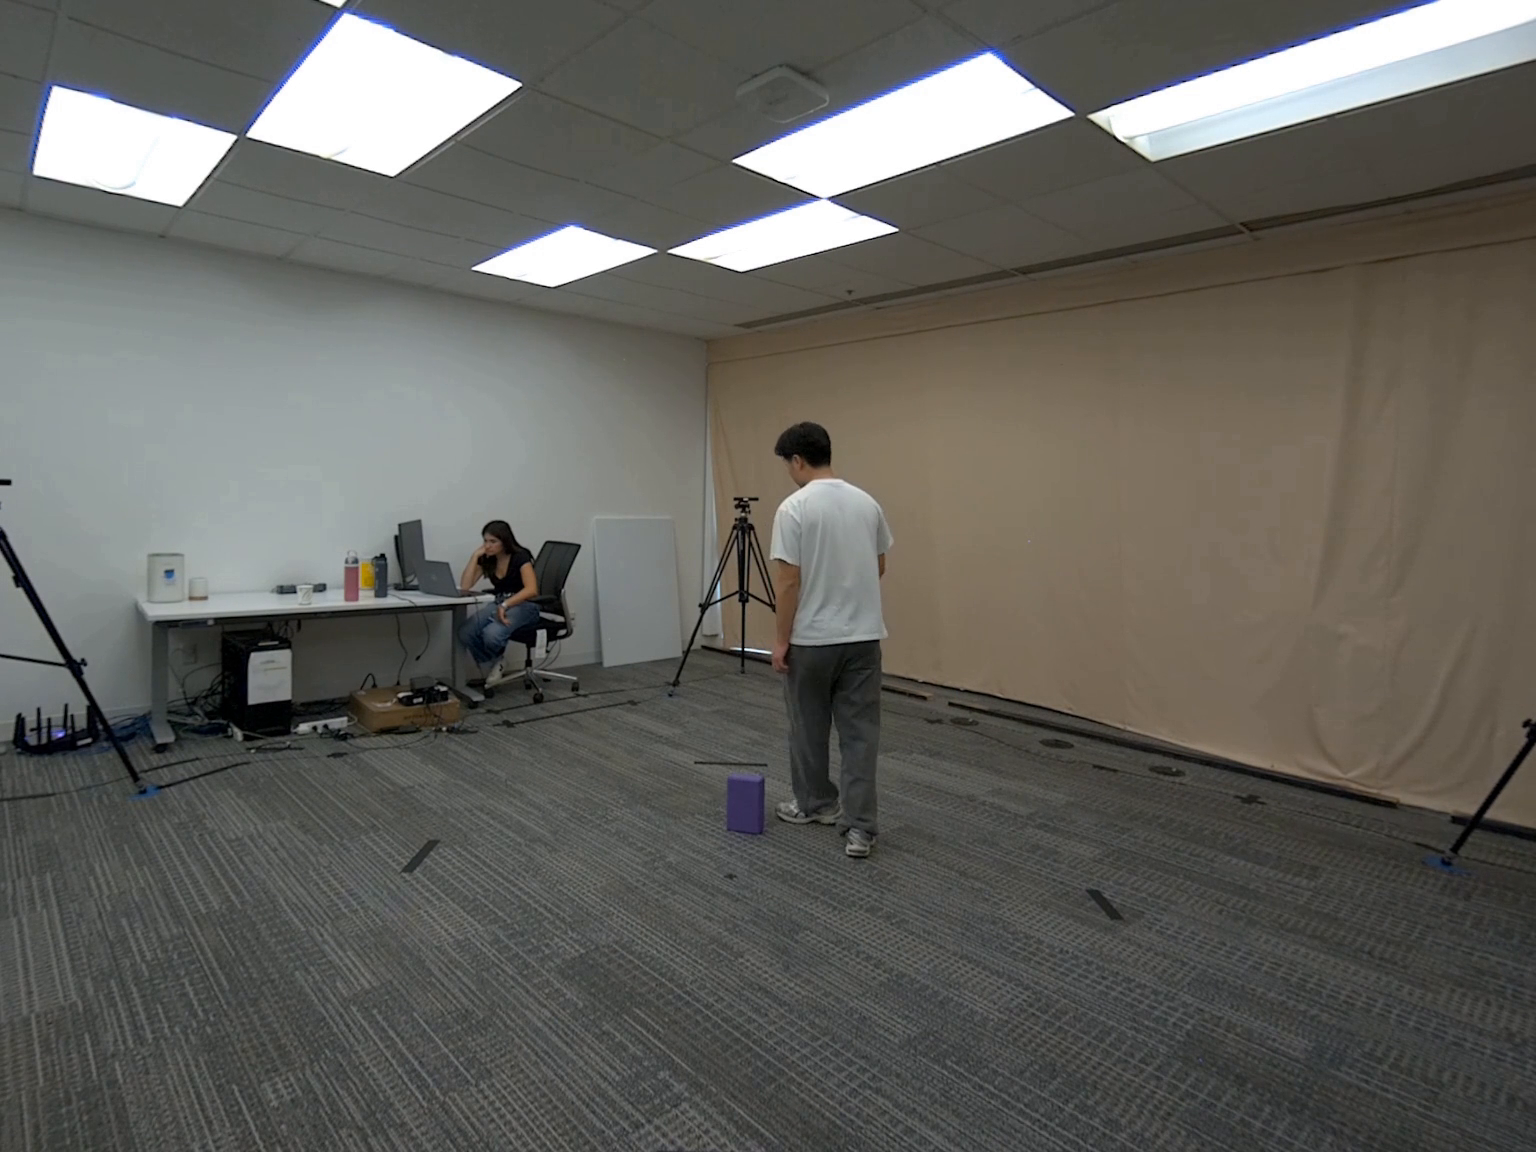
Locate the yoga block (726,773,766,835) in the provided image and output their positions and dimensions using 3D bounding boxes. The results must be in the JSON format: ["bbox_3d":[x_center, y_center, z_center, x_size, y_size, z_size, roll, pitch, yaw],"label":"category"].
[{"bbox_3d":[-0.098,0.951,3.544,0.151,0.229,0.075,2,2,20],"label":"yoga block"}]
